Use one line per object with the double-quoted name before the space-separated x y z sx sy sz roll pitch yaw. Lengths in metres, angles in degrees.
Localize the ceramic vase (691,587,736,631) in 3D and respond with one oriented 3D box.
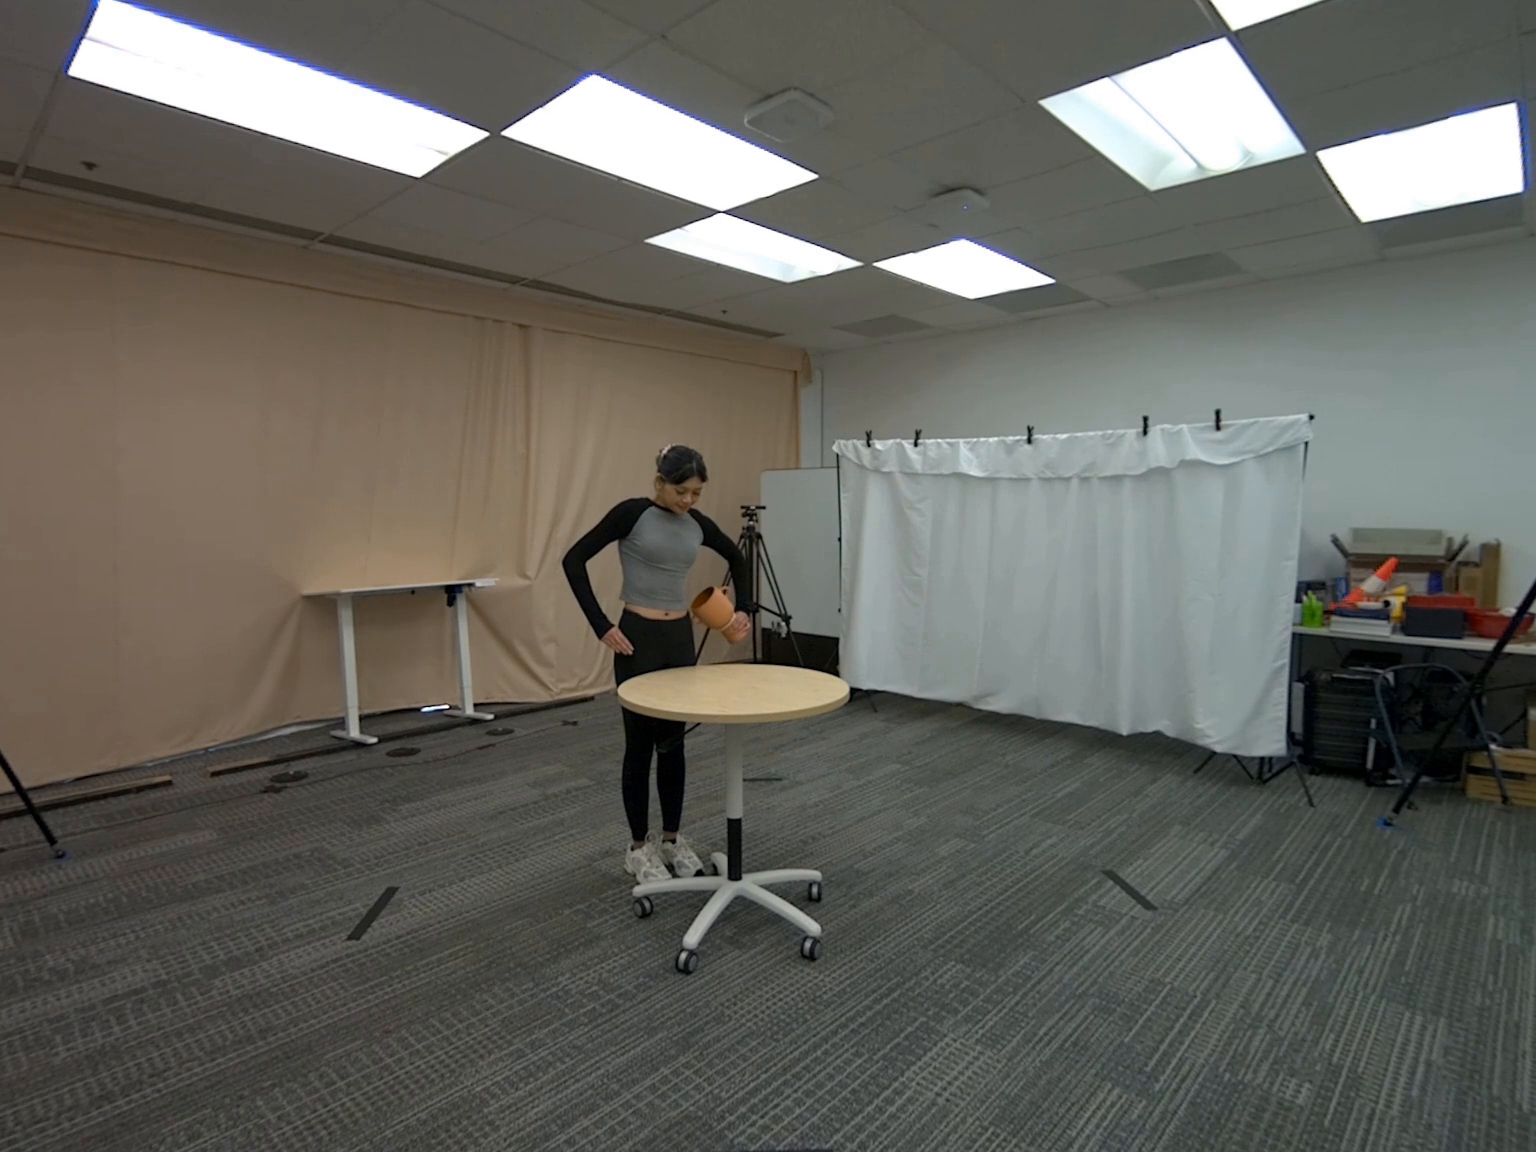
"ceramic vase" -0.183 0.161 3.284 0.161 0.216 0.135 -33 18 30
